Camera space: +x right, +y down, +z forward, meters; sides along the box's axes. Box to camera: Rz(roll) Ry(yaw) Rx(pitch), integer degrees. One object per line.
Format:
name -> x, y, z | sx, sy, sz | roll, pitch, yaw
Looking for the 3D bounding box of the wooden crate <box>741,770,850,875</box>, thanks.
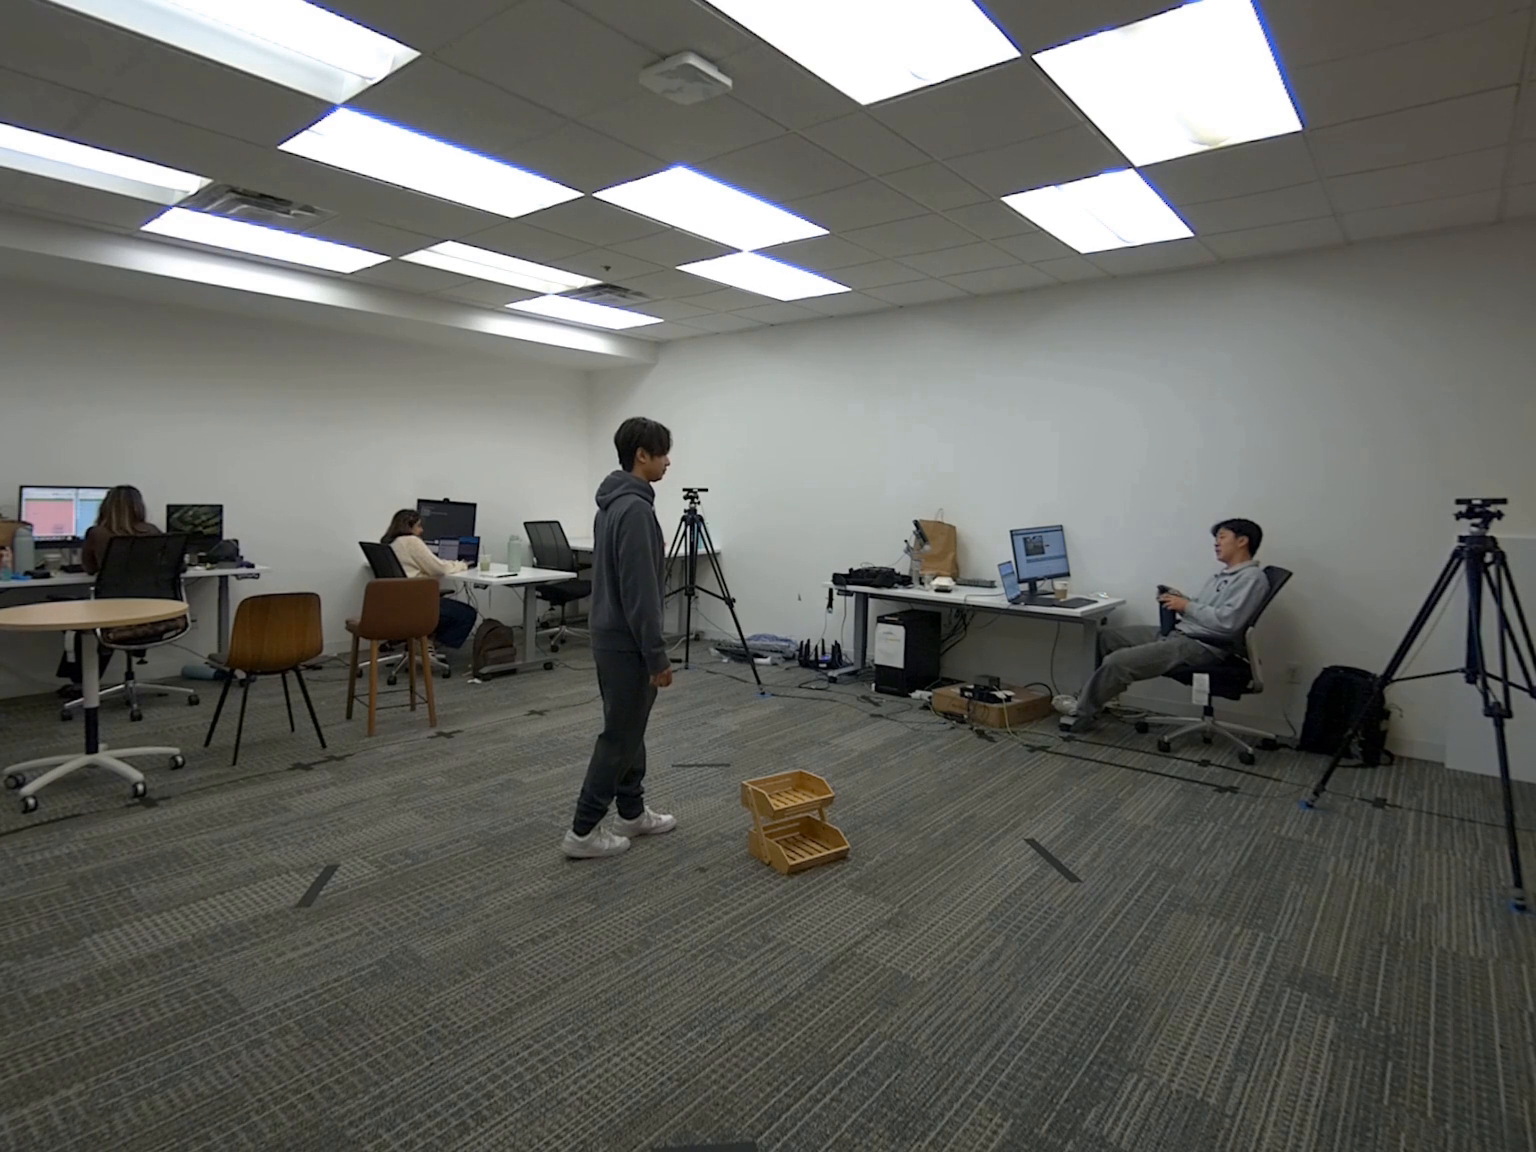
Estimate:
wooden crate -> 0.098, 0.930, 3.257 | 0.315, 0.272, 0.312 | -2, 5, -37
